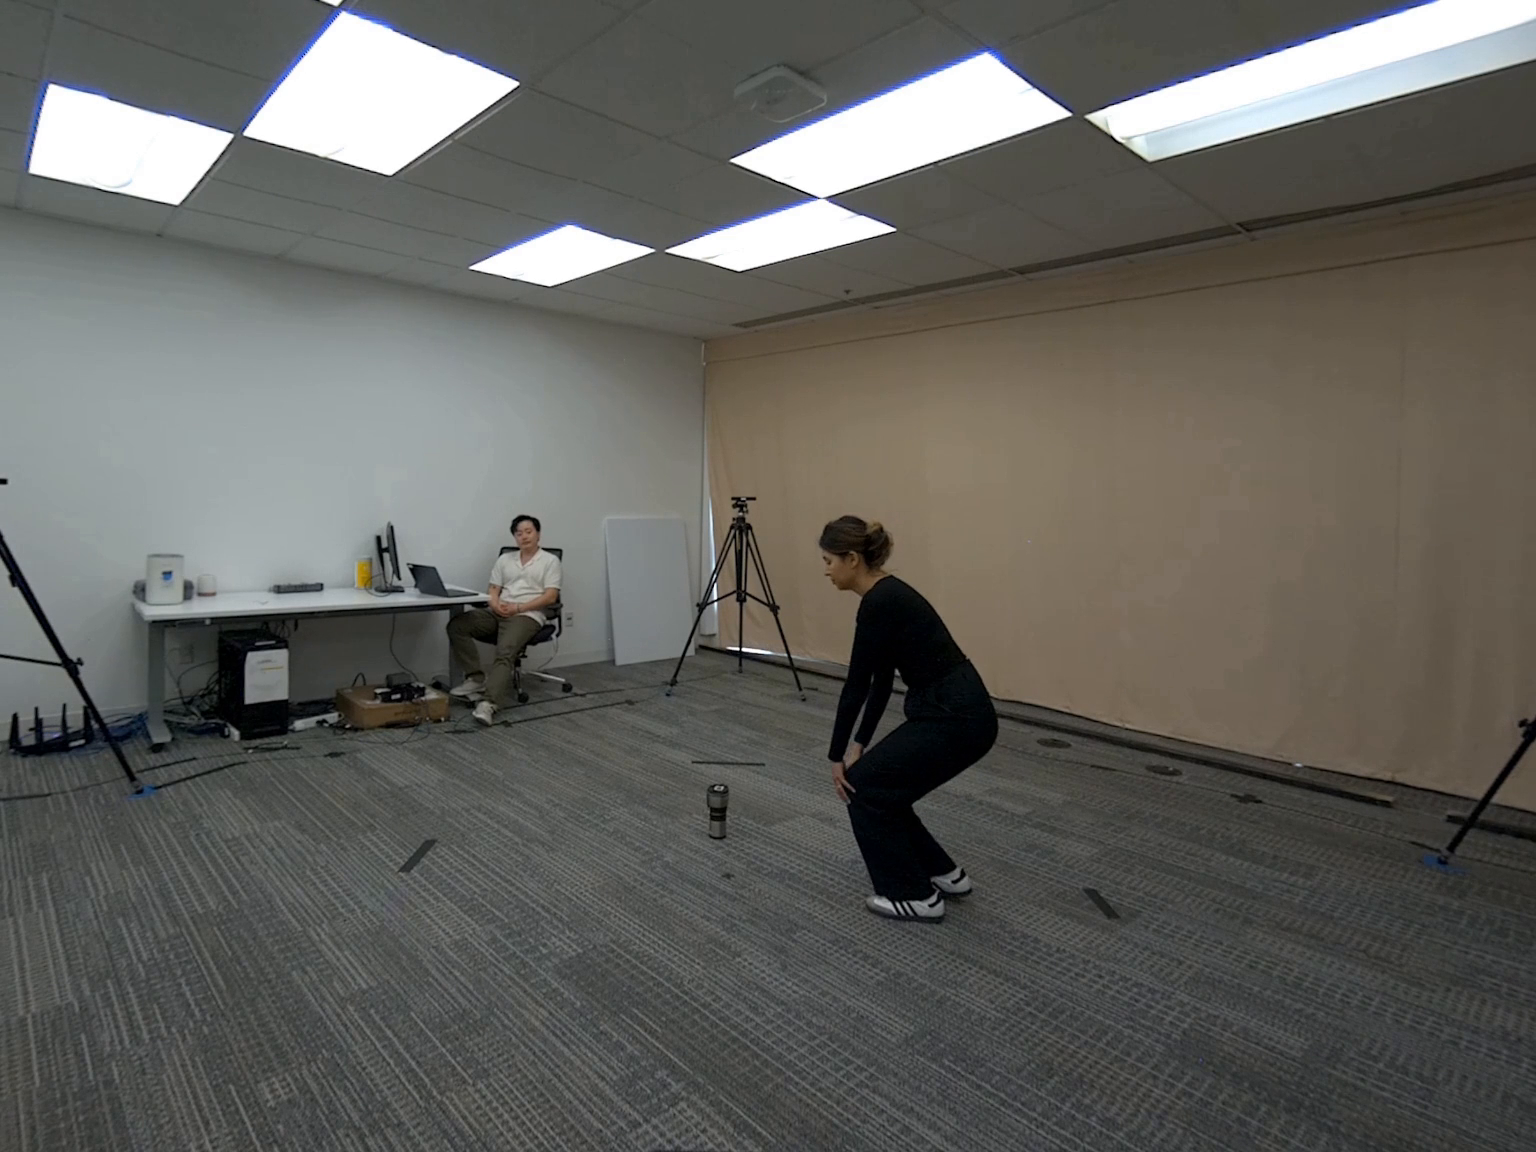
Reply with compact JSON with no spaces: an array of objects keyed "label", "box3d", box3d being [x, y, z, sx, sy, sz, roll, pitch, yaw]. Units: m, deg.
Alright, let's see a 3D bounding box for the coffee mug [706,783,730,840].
[{"label":"coffee mug","box3d":[-0.214,0.972,3.488,0.088,0.202,0.122,0,5,-1]}]
